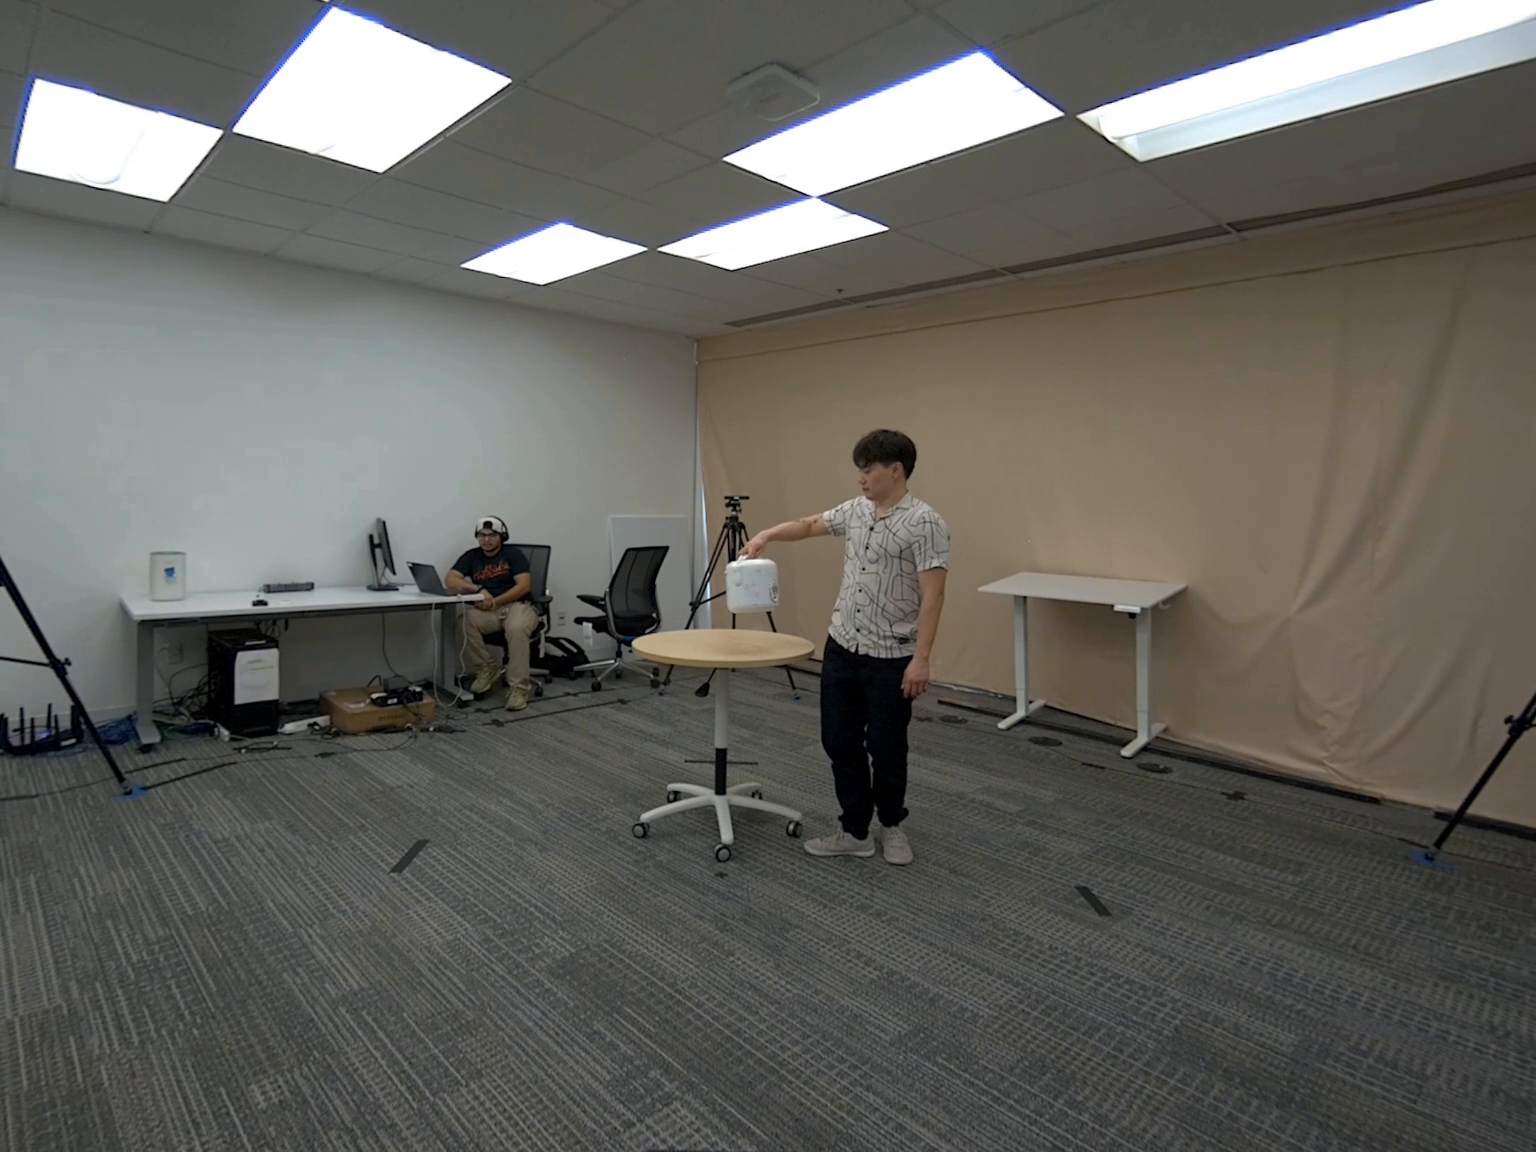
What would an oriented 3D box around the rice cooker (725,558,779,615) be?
[{"bbox_3d":[-0.064,0.027,3.384,0.222,0.233,0.216,-3,-1,33],"label":"rice cooker"}]
